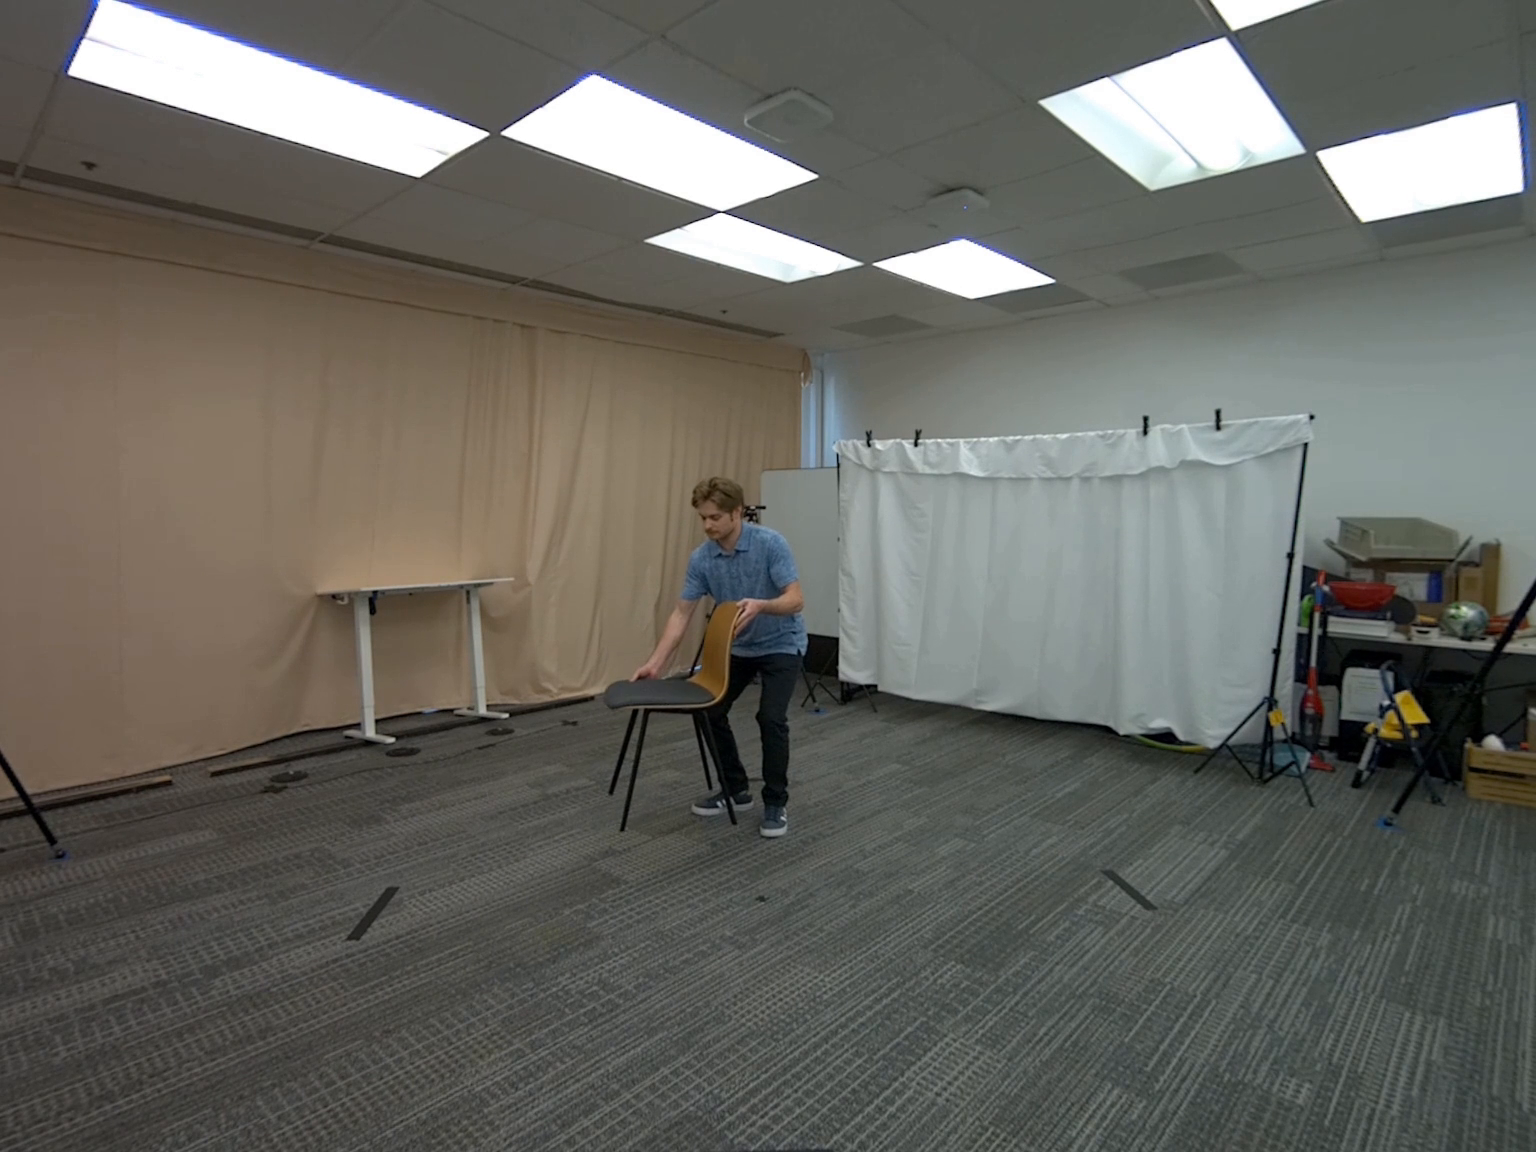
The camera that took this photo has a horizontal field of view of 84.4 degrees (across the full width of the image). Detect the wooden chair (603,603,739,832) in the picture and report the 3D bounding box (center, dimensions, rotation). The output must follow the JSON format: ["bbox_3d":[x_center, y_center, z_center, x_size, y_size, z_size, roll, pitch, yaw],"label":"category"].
[{"bbox_3d":[-0.395,0.525,3.399,0.514,0.876,0.487,5,2,-16],"label":"wooden chair"}]
